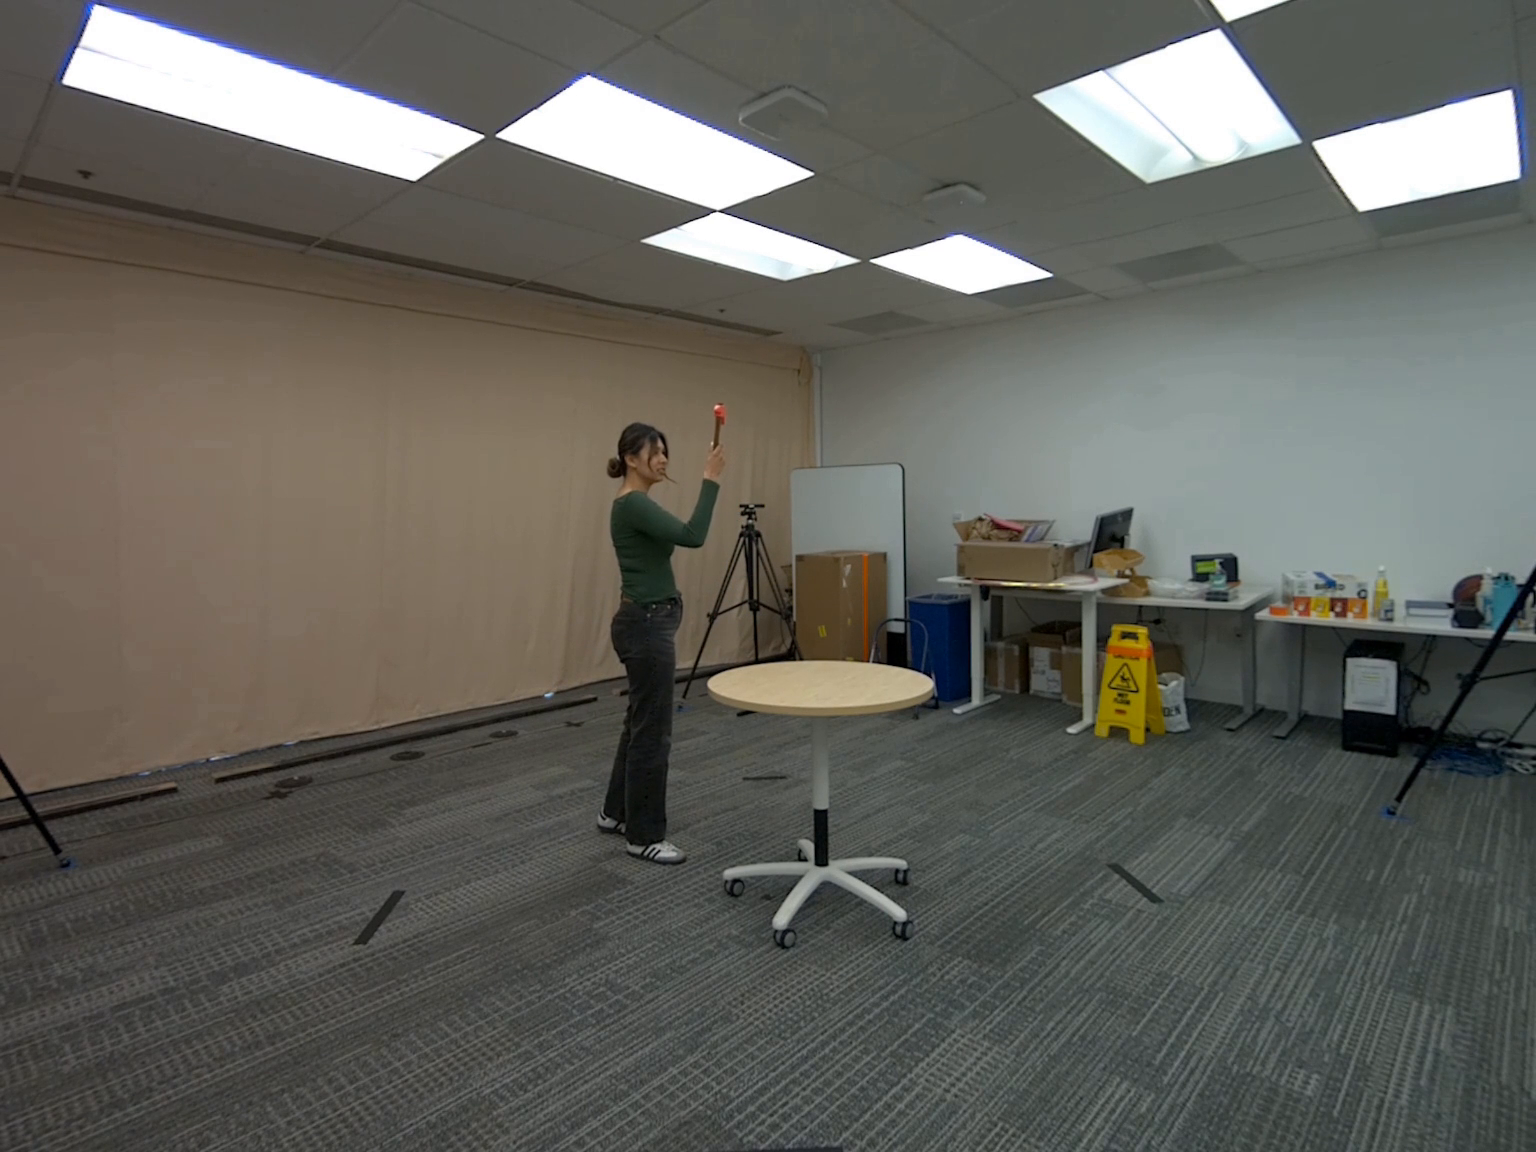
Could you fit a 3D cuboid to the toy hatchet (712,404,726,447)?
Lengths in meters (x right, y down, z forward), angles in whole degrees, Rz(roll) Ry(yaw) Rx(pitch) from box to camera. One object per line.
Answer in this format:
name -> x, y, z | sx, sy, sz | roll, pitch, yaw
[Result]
toy hatchet -> -0.184, -0.522, 3.170 | 0.030, 0.267, 0.131 | 10, 25, 6
